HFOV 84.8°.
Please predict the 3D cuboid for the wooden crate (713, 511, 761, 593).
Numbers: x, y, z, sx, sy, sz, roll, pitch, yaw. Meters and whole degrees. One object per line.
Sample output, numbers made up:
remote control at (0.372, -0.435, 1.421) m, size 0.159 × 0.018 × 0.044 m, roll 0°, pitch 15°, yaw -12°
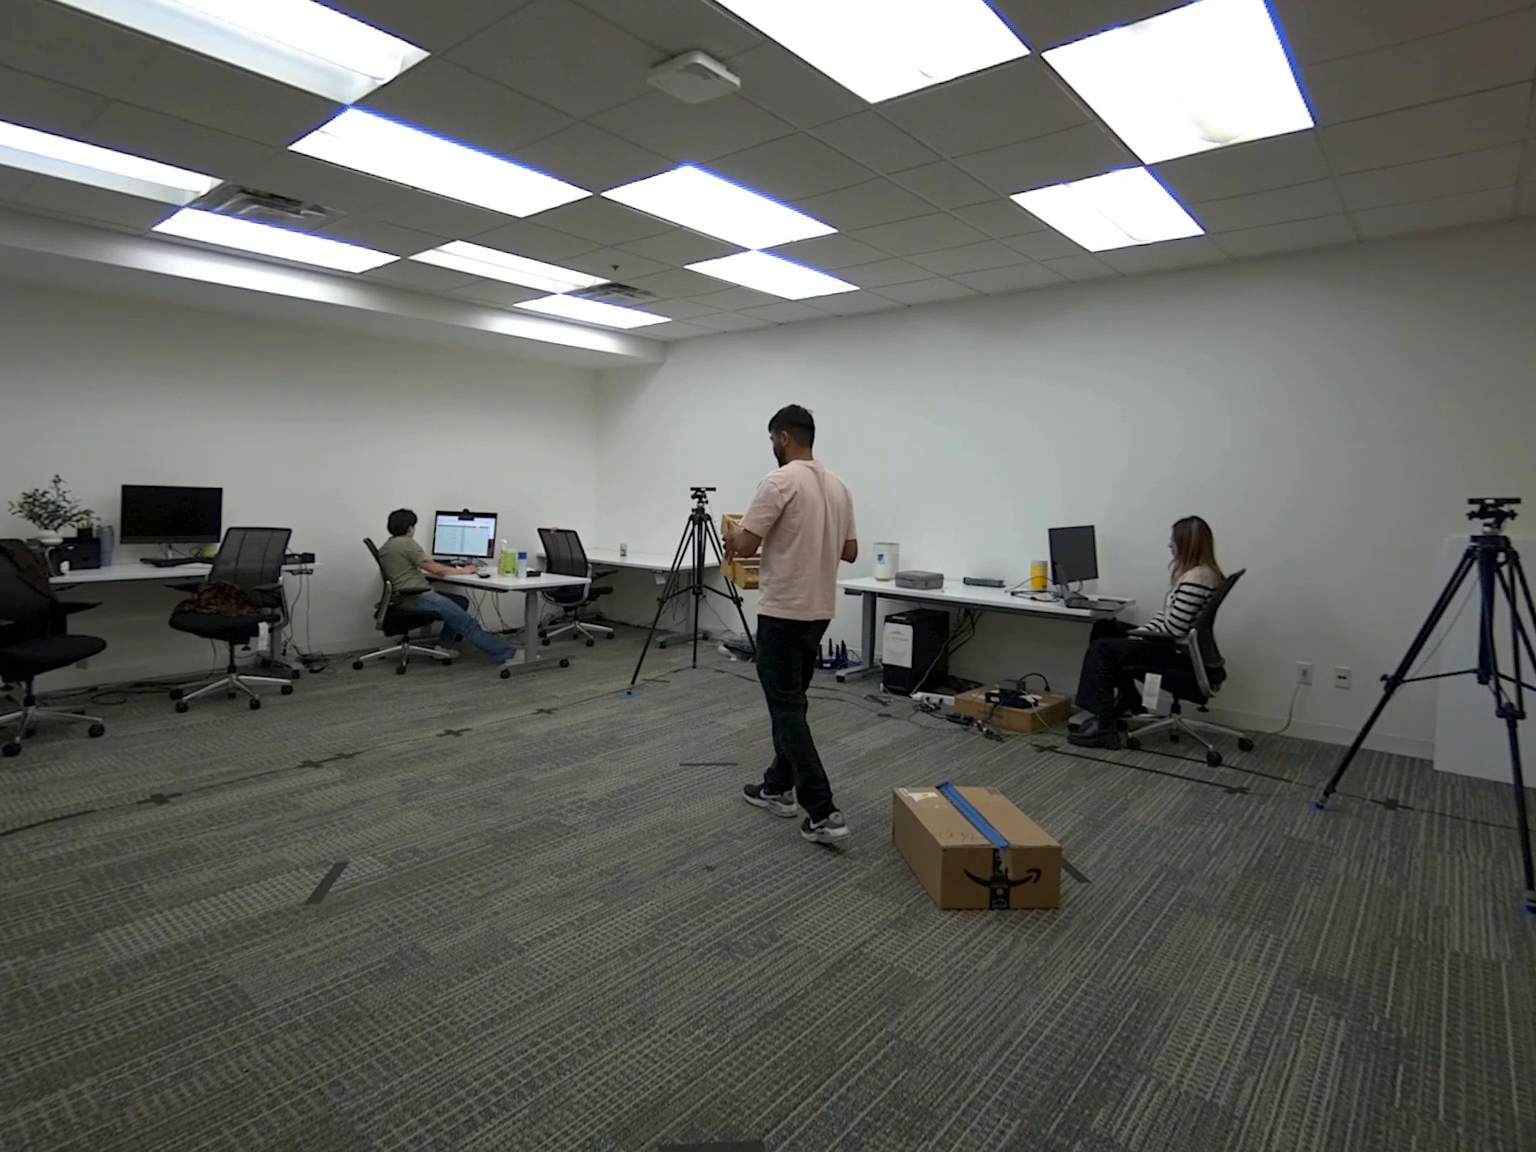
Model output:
wooden crate at (-0.018, -0.114, 3.767) m, size 0.316 × 0.270 × 0.314 m, roll 0°, pitch 18°, yaw -29°
